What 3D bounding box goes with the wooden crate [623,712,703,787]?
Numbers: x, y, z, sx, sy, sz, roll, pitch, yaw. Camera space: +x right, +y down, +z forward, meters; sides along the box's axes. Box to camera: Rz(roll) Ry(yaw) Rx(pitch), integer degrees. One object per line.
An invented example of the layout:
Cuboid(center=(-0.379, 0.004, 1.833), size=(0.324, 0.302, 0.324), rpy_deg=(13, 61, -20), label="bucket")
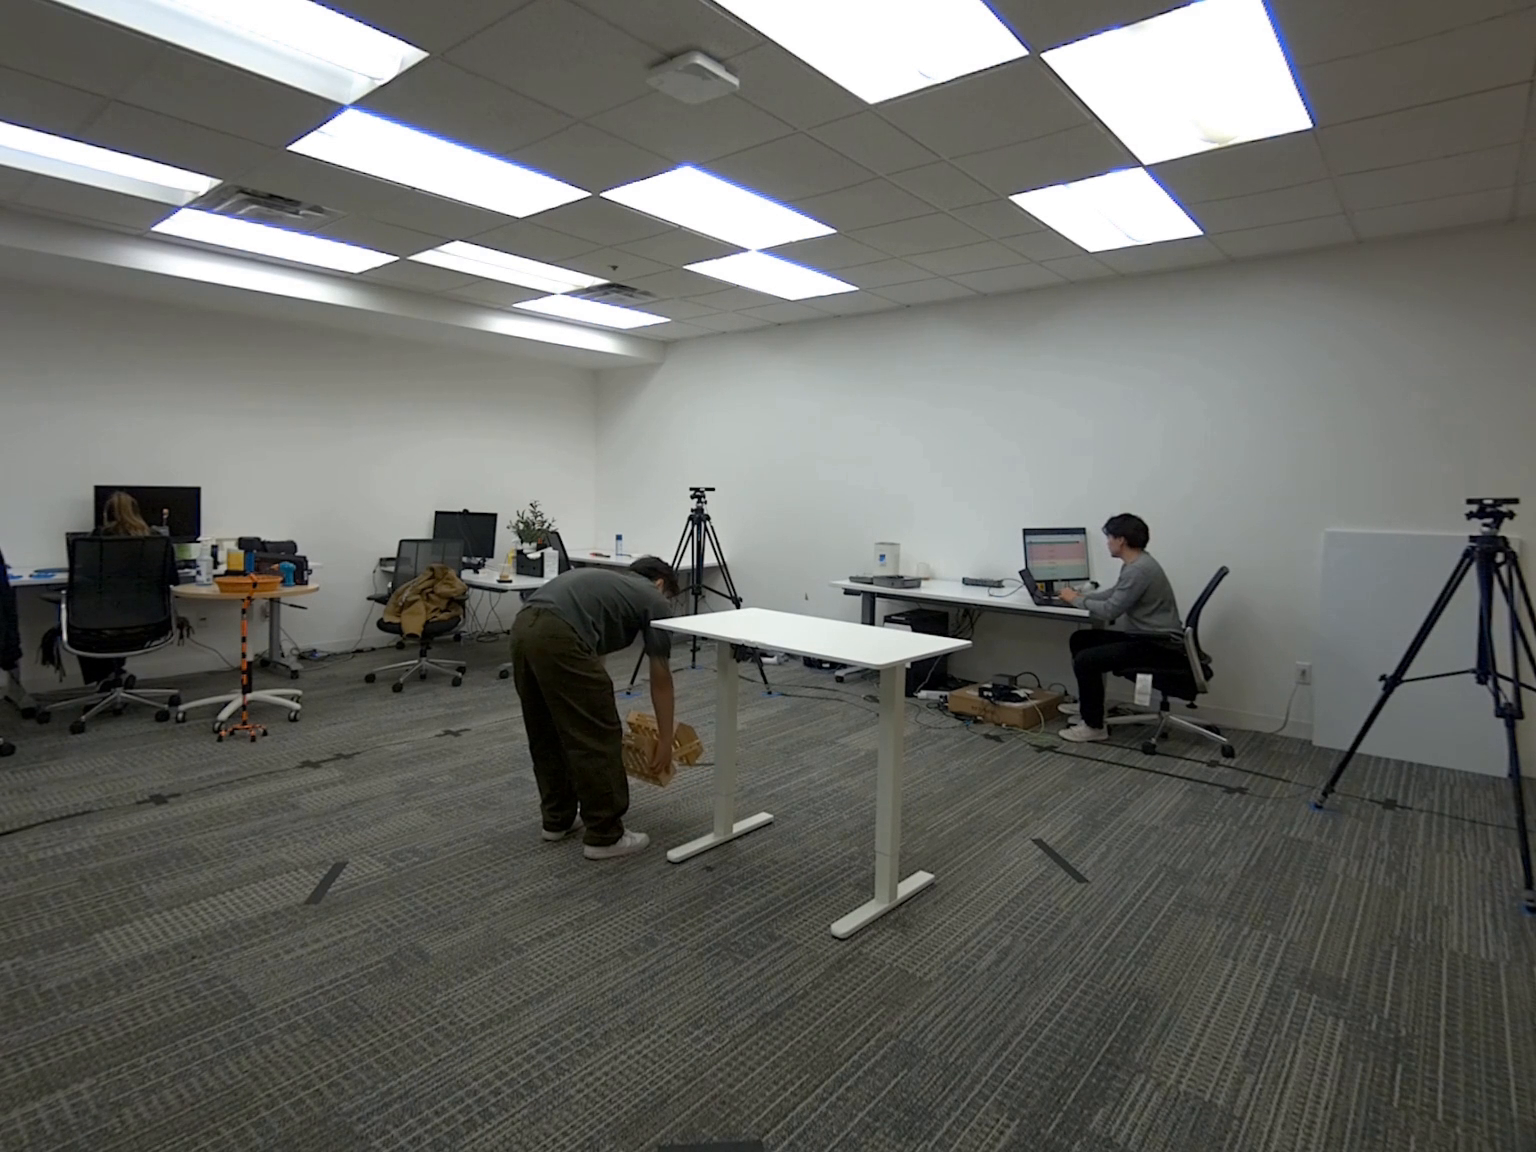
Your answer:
Cuboid(center=(-0.516, 0.685, 3.578), size=(0.335, 0.292, 0.273), rpy_deg=(6, 40, 38), label="wooden crate")
